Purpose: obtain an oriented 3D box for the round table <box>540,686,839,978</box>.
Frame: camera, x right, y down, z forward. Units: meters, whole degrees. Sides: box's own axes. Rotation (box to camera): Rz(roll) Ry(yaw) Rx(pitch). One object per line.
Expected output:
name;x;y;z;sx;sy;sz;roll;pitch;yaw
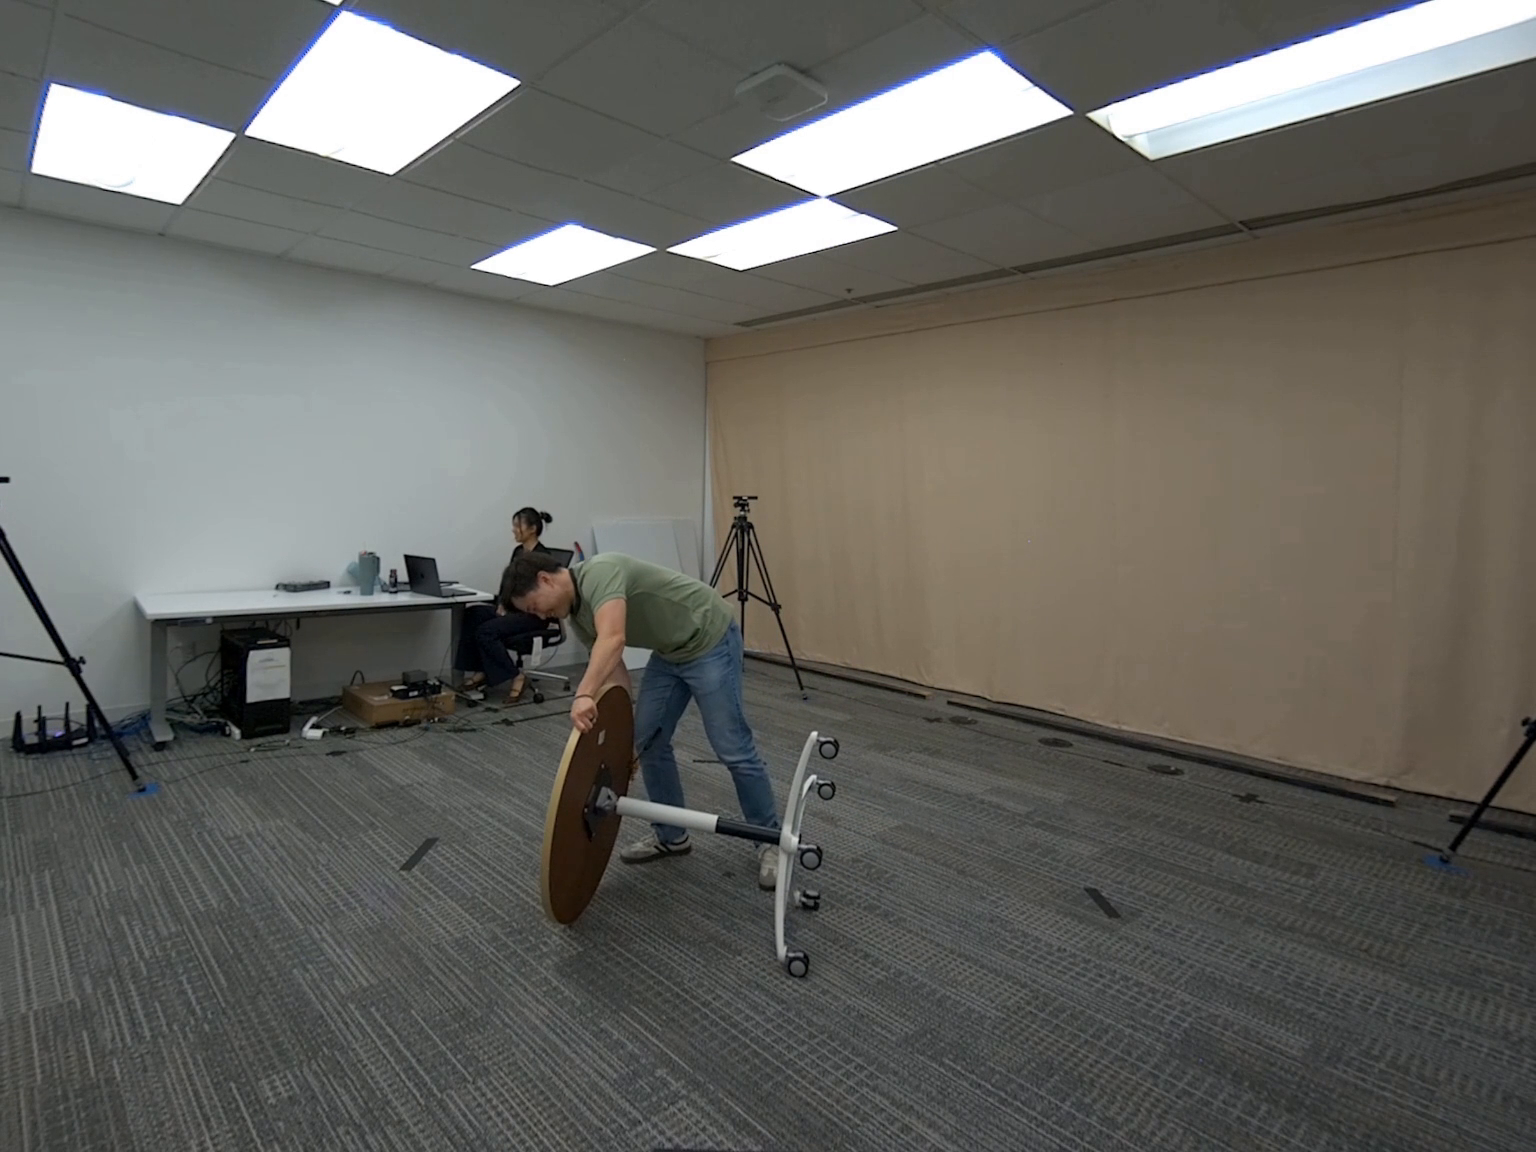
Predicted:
round table;-0.208;0.801;2.716;0.801;0.761;0.759;8;5;9
